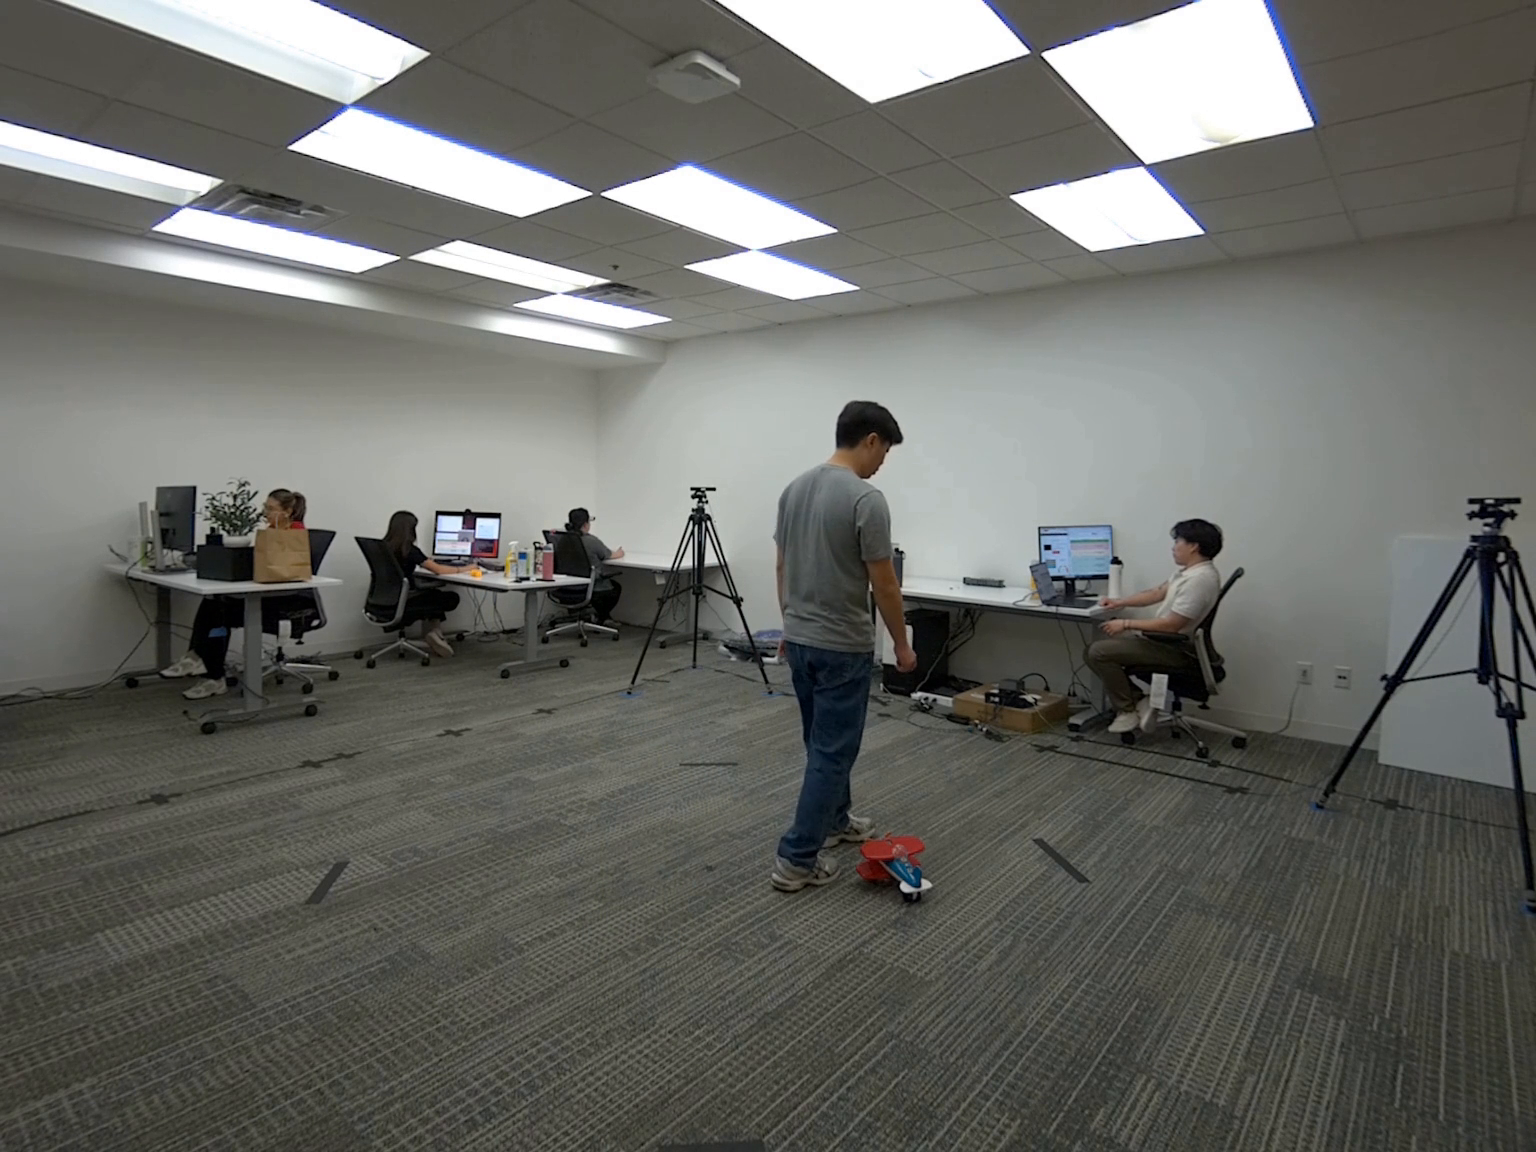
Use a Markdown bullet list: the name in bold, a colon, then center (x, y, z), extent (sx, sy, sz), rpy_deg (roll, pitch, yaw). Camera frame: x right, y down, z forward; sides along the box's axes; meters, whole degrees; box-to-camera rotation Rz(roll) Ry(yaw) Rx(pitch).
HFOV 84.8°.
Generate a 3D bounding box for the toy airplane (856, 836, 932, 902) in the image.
- **toy airplane**: center (0.465, 1.027, 2.981), extent (0.268, 0.156, 0.244), rpy_deg (5, 7, 35)
